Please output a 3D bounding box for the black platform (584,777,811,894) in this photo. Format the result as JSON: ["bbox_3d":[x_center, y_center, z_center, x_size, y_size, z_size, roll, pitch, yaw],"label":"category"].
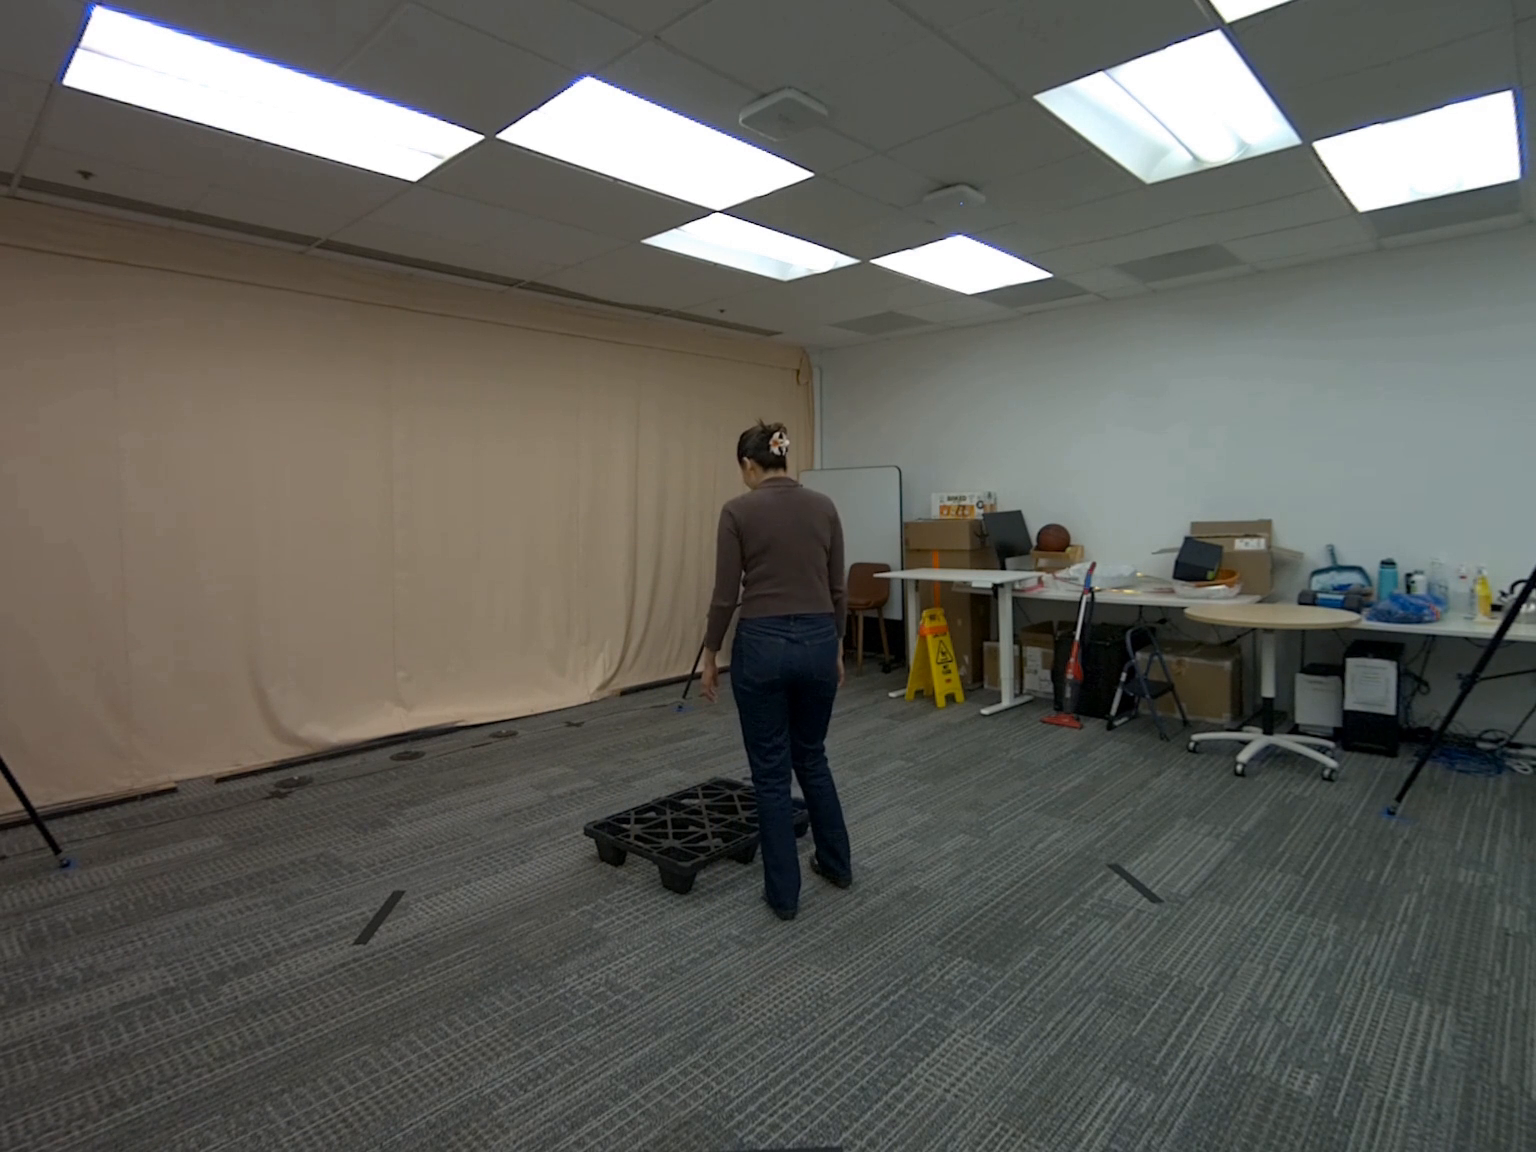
[{"bbox_3d":[-0.247,1.040,3.429,0.625,0.143,0.781,3,7,41],"label":"black platform"}]
